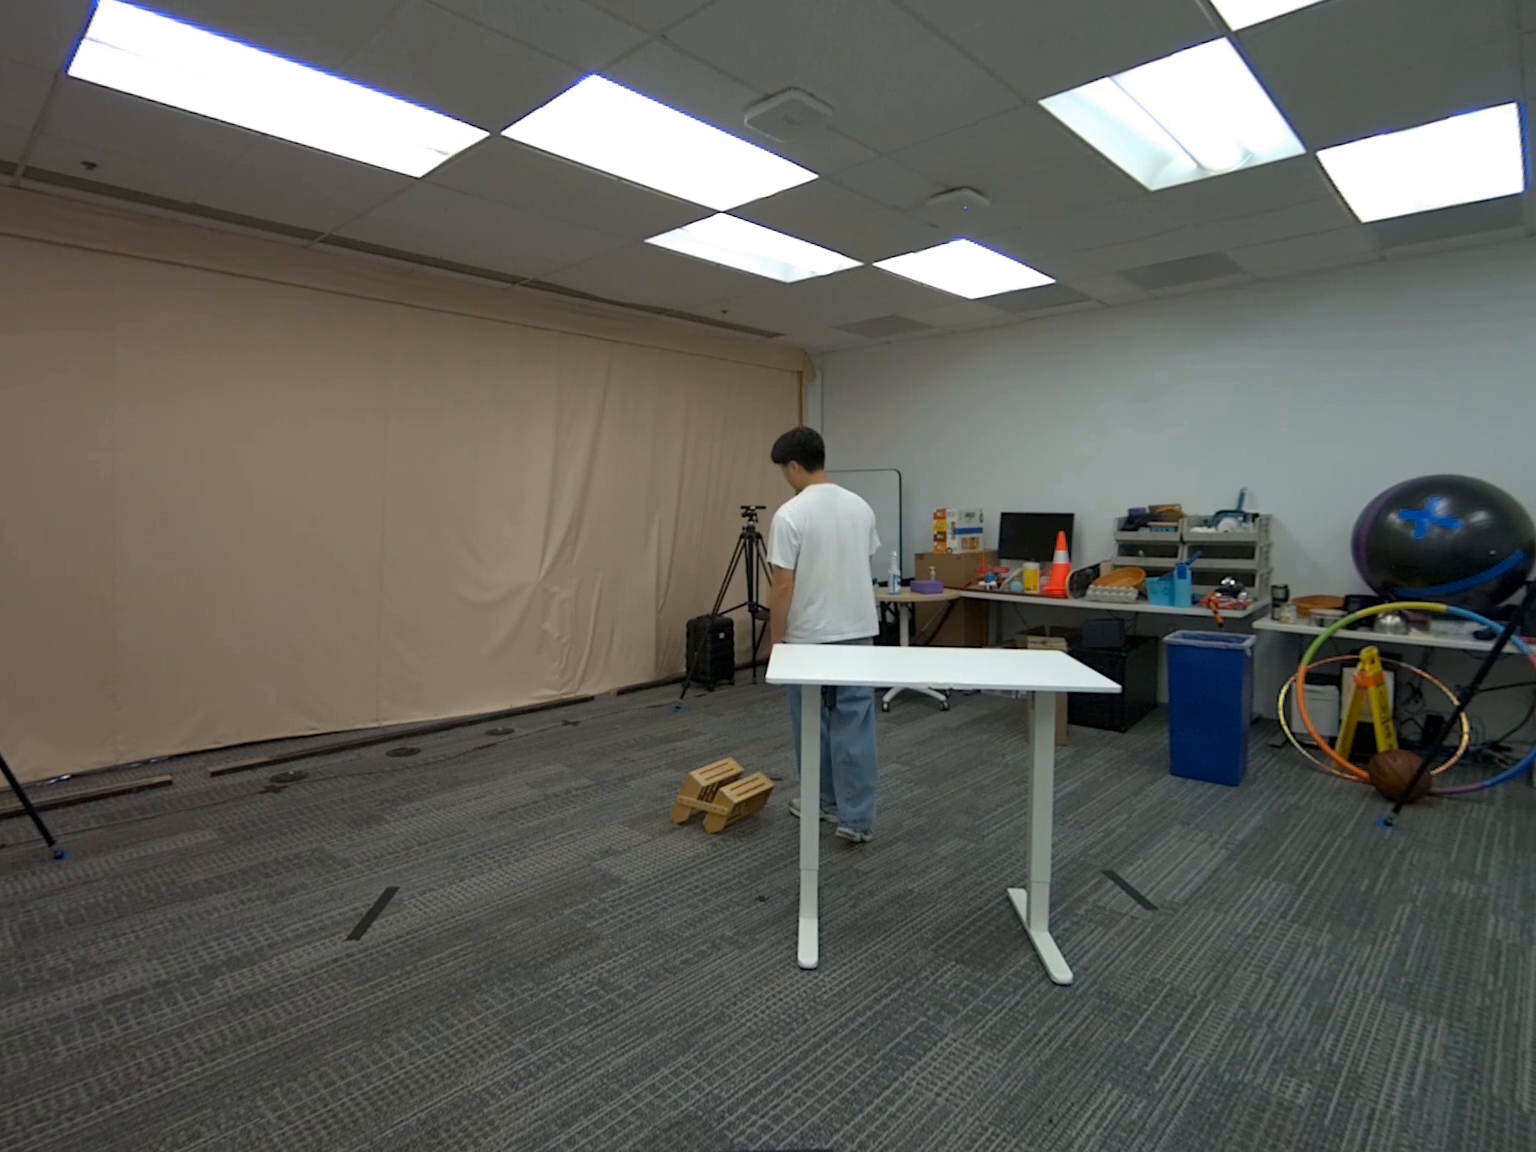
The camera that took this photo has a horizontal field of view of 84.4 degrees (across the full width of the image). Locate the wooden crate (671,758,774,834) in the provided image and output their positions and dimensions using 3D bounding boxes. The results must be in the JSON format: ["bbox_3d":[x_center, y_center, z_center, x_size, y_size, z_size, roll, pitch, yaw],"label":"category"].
[{"bbox_3d":[-0.198,1.000,3.724,0.282,0.301,0.315,35,22,30],"label":"wooden crate"}]
